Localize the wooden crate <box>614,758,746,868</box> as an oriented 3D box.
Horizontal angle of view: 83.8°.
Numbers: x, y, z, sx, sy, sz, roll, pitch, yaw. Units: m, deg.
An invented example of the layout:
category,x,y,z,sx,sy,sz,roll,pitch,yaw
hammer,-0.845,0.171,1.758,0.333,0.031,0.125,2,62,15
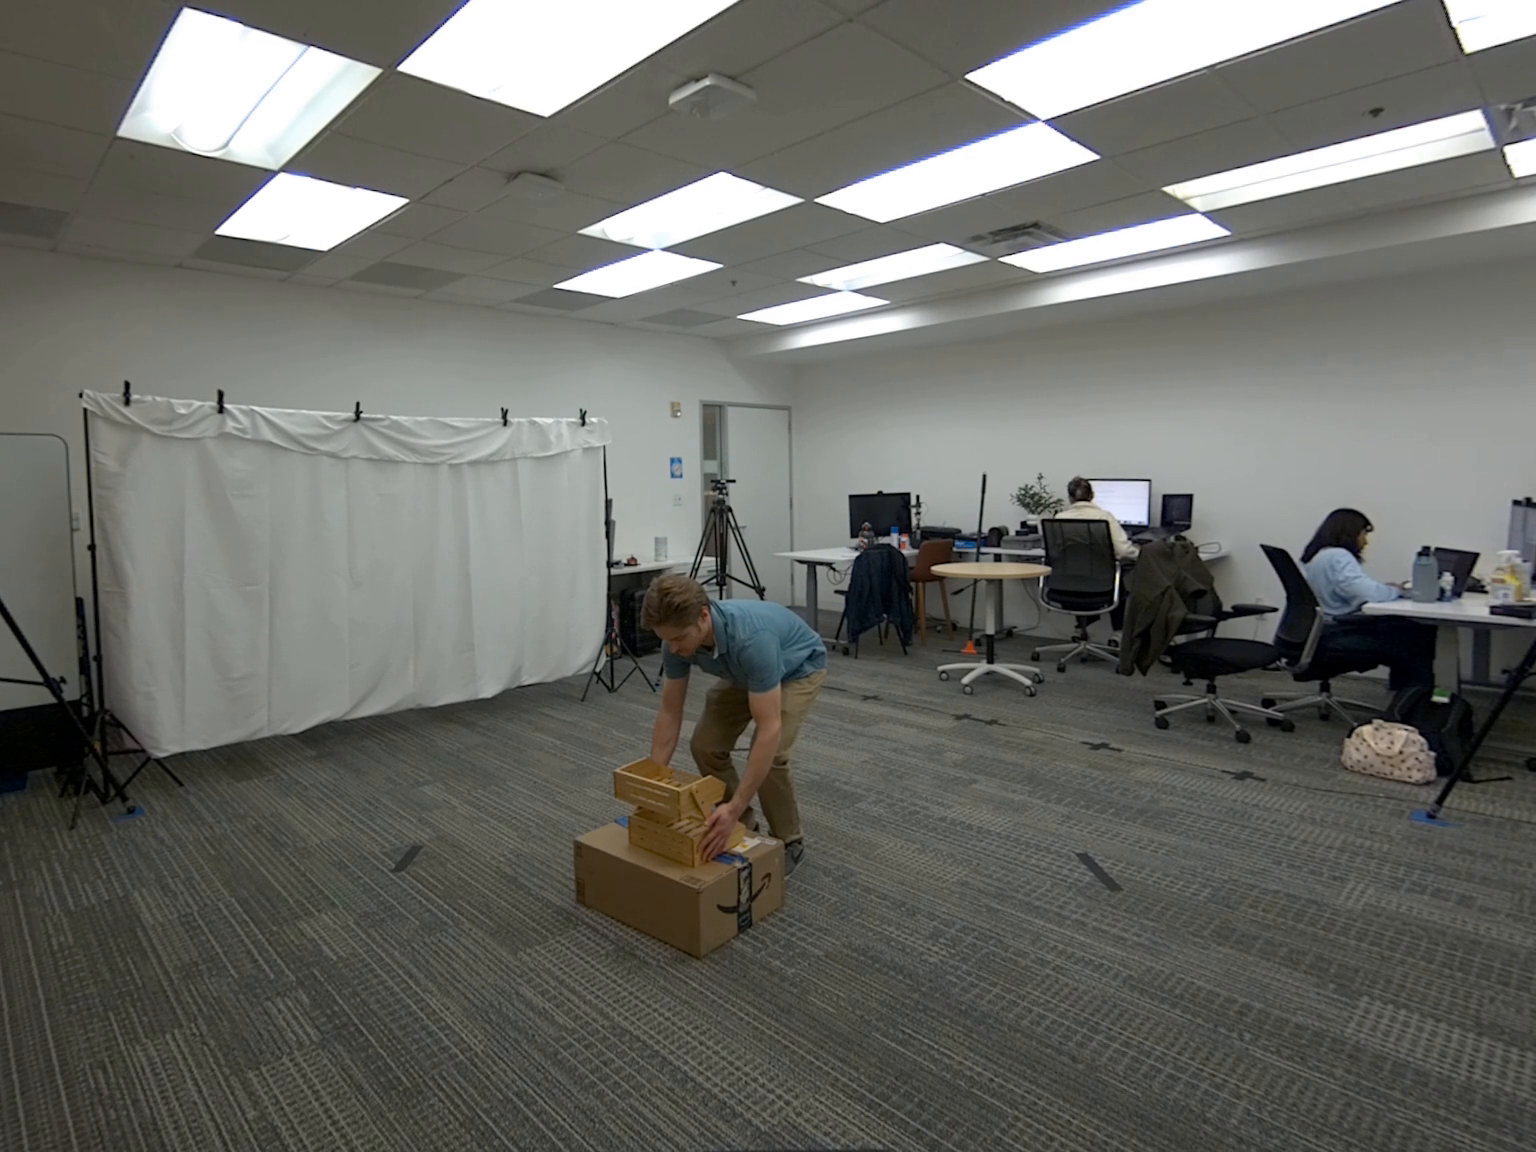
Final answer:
category,x,y,z,sx,sy,sz,roll,pitch,yaw
wooden crate,-0.278,0.742,2.783,0.334,0.272,0.295,2,8,40
